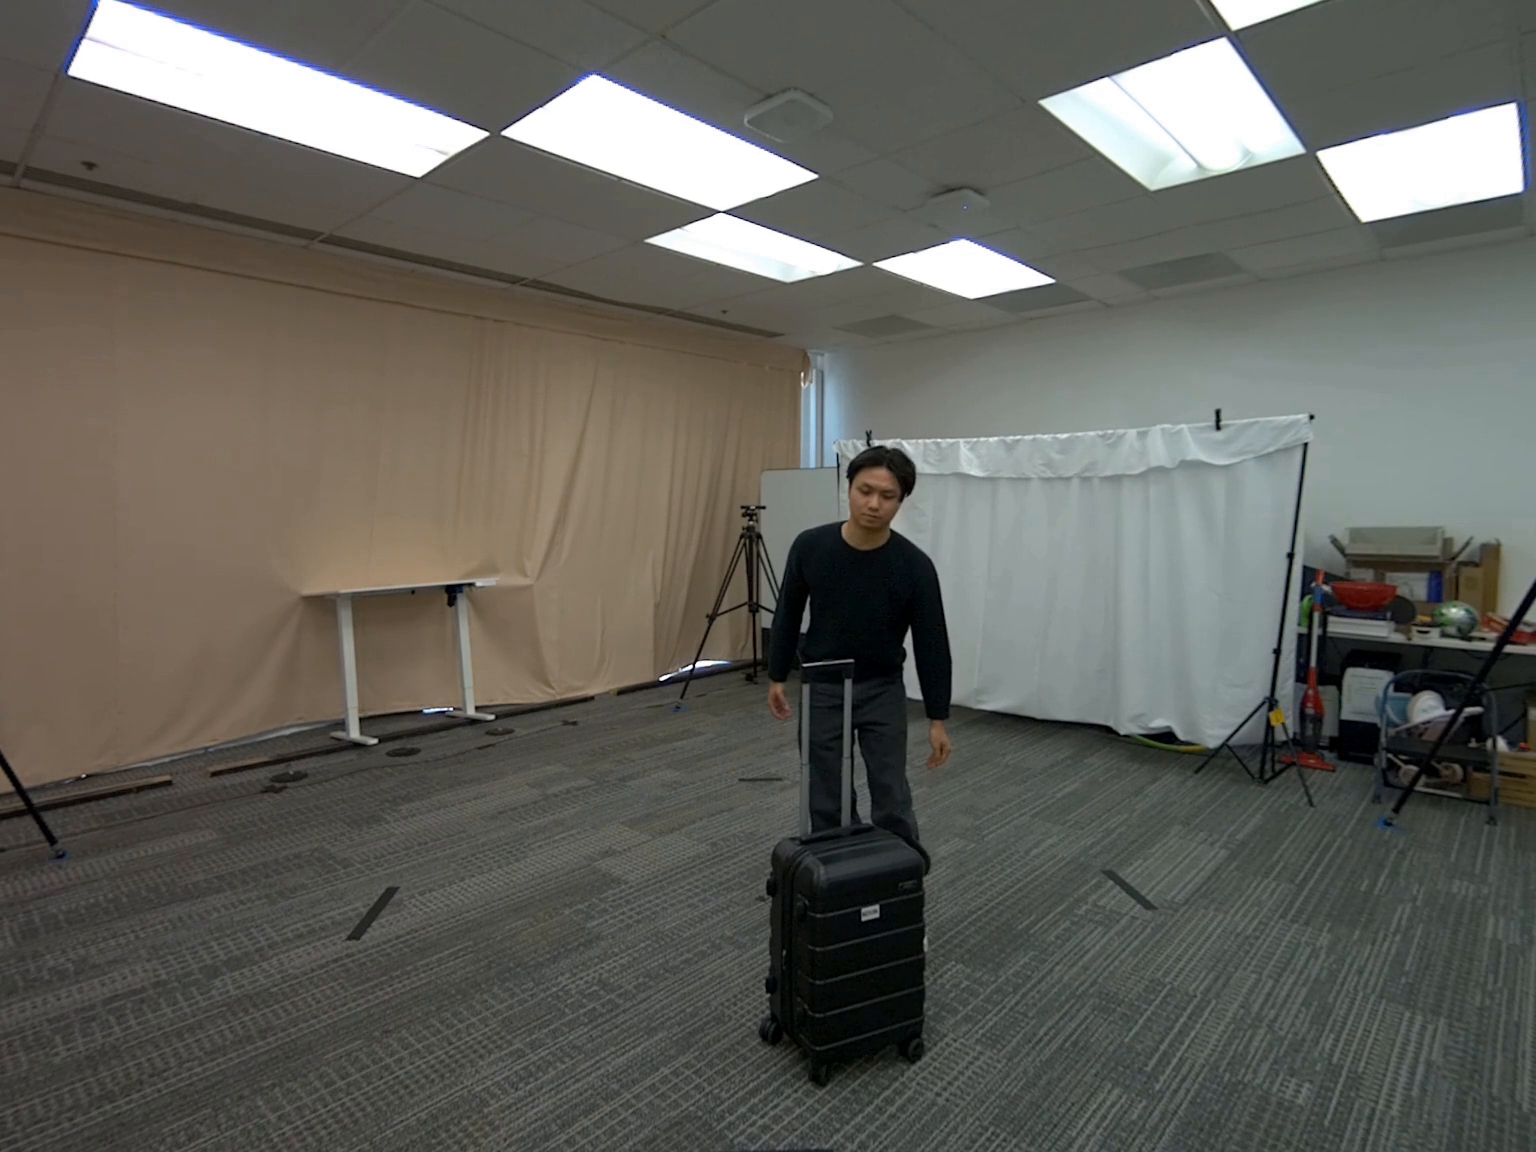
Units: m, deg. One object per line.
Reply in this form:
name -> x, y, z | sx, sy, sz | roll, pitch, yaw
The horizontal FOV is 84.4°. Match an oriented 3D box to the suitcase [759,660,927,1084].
suitcase -> 0.211, 0.740, 2.142 | 0.374, 0.976, 0.264 | 1, 4, -26
